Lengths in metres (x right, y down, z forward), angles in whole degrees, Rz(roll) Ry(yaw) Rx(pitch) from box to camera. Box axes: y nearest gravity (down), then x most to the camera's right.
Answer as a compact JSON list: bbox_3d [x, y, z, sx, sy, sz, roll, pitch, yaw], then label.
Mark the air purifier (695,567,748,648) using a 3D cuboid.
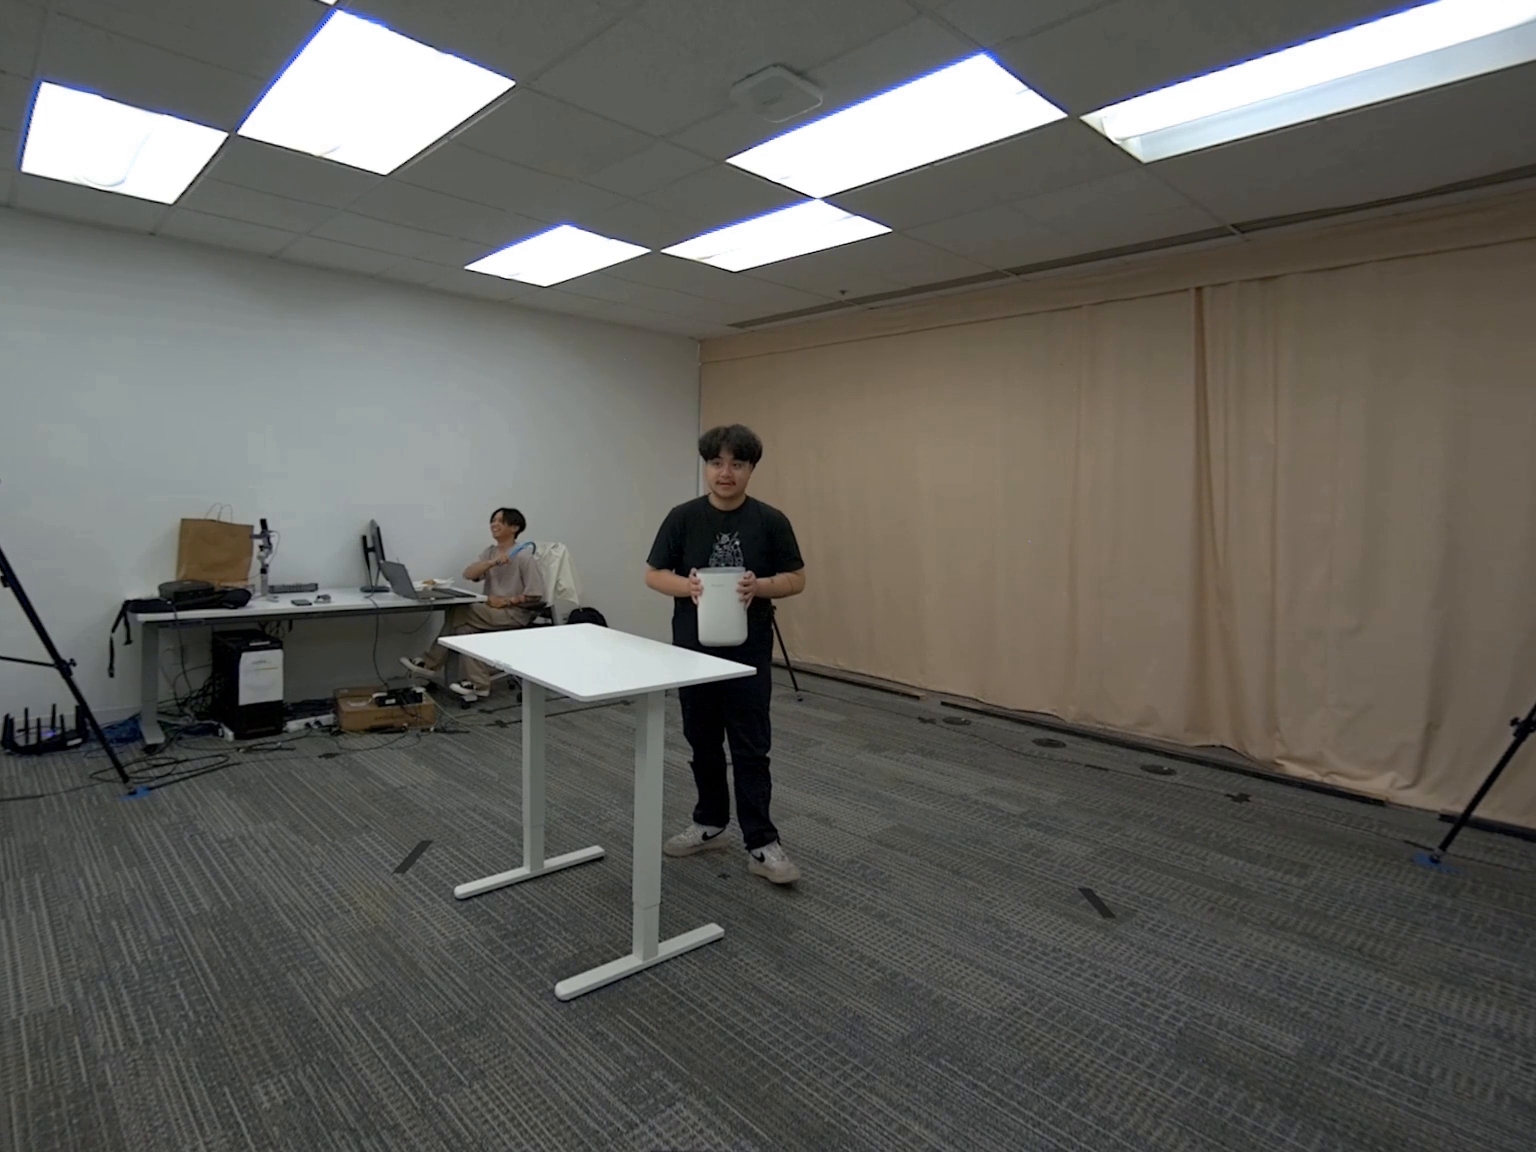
[{"bbox_3d":[-0.179,0.110,2.993,0.171,0.264,0.172,-2,4,2],"label":"air purifier"}]
